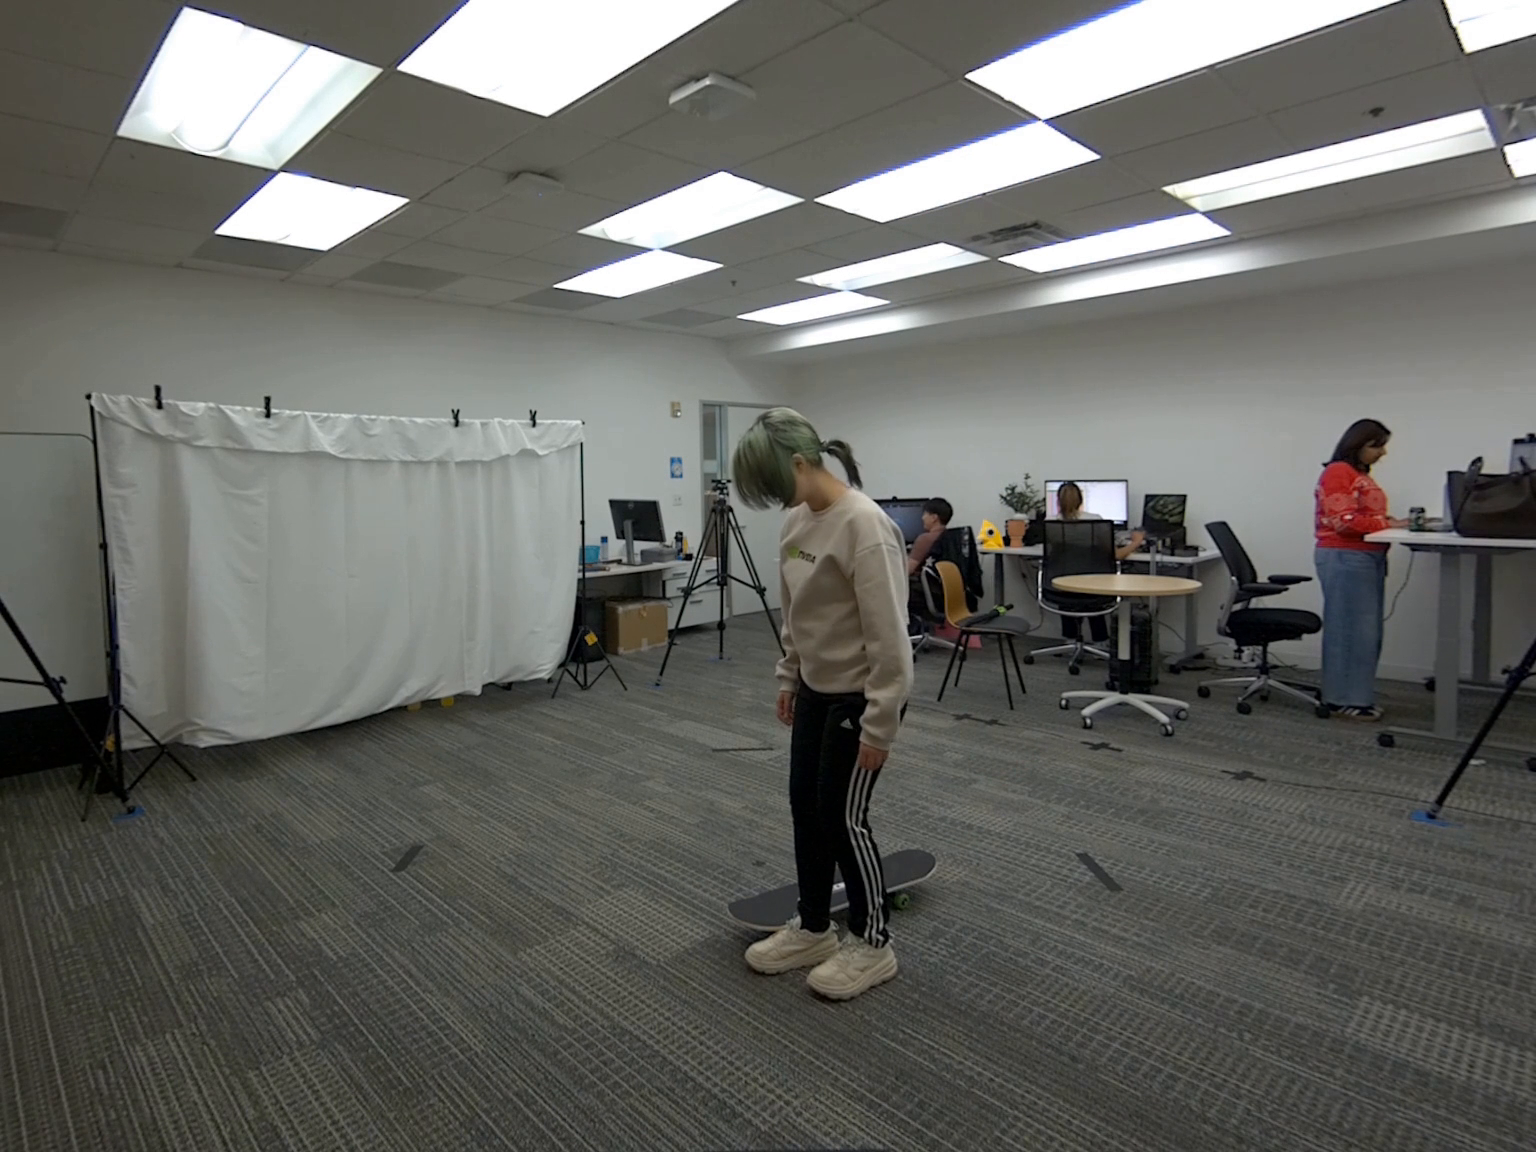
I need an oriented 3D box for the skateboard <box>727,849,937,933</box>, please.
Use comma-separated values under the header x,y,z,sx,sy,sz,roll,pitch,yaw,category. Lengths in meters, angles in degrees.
x,y,z,sx,sy,sz,roll,pitch,yaw,category
0.223,1.023,2.730,0.767,0.110,0.199,-5,7,-30,skateboard
